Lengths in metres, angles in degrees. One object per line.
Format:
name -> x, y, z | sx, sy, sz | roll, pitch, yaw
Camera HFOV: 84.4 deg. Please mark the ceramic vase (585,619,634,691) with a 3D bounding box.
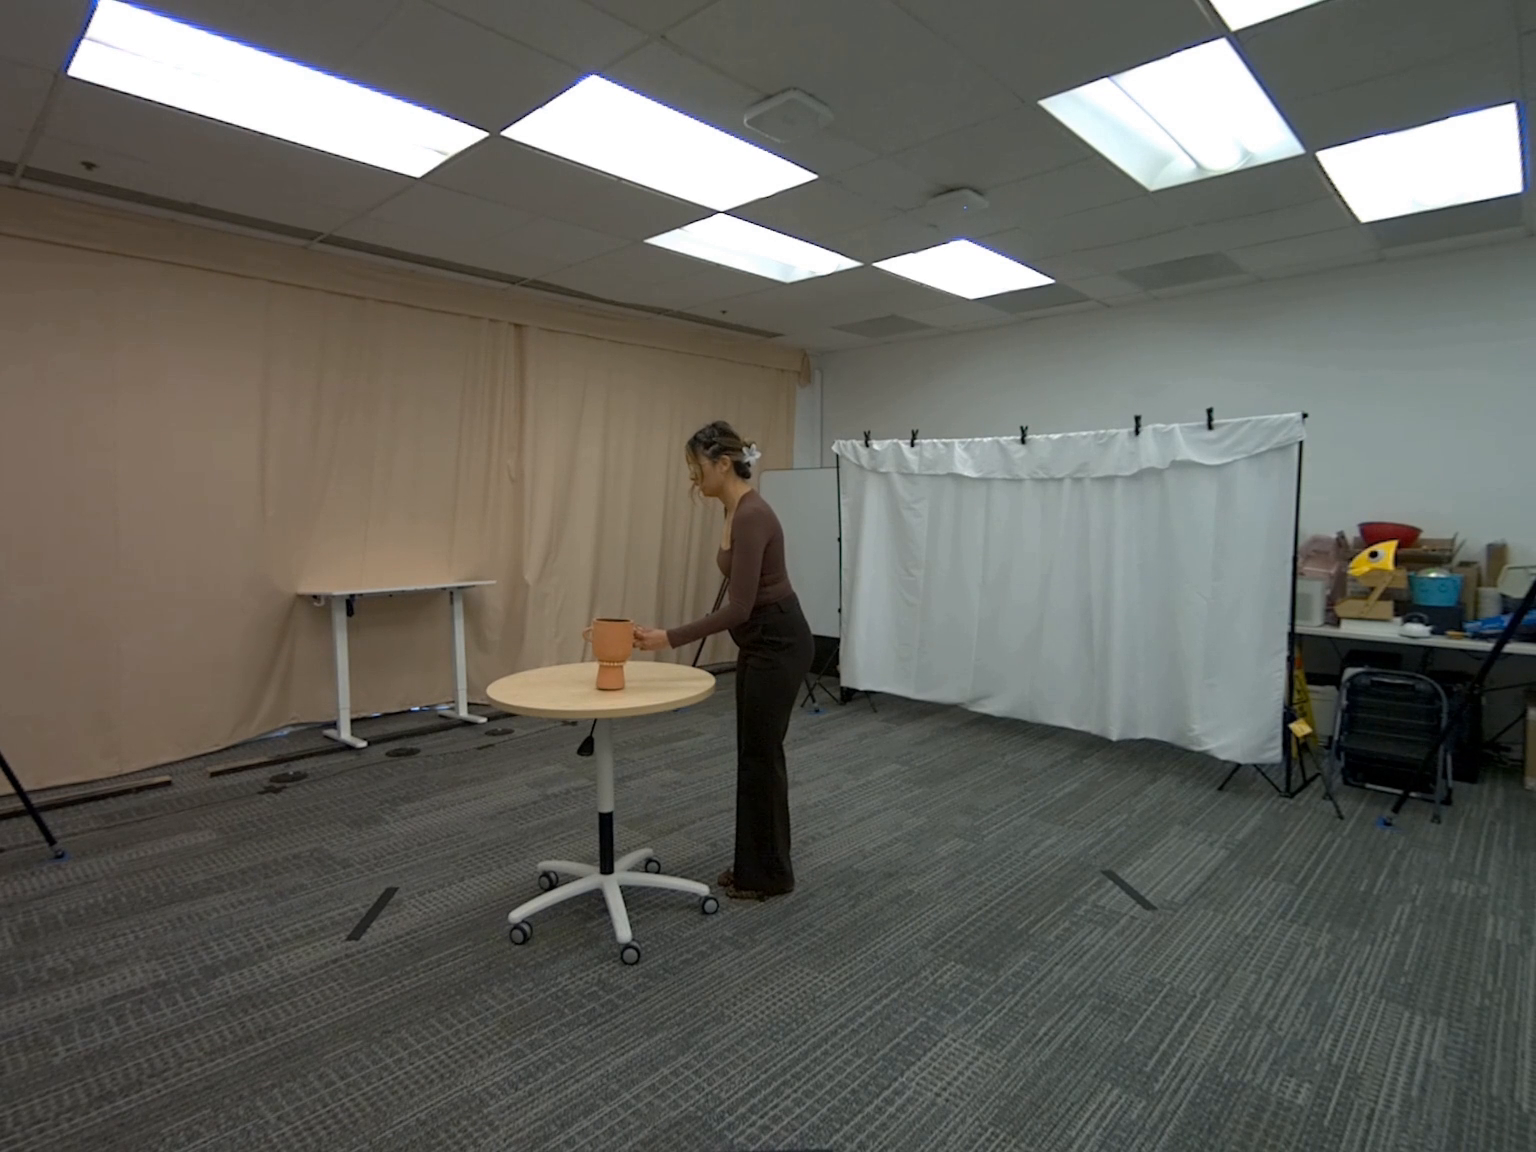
ceramic vase -> -0.512, 0.256, 2.756 | 0.162, 0.219, 0.132 | 3, 1, 20
